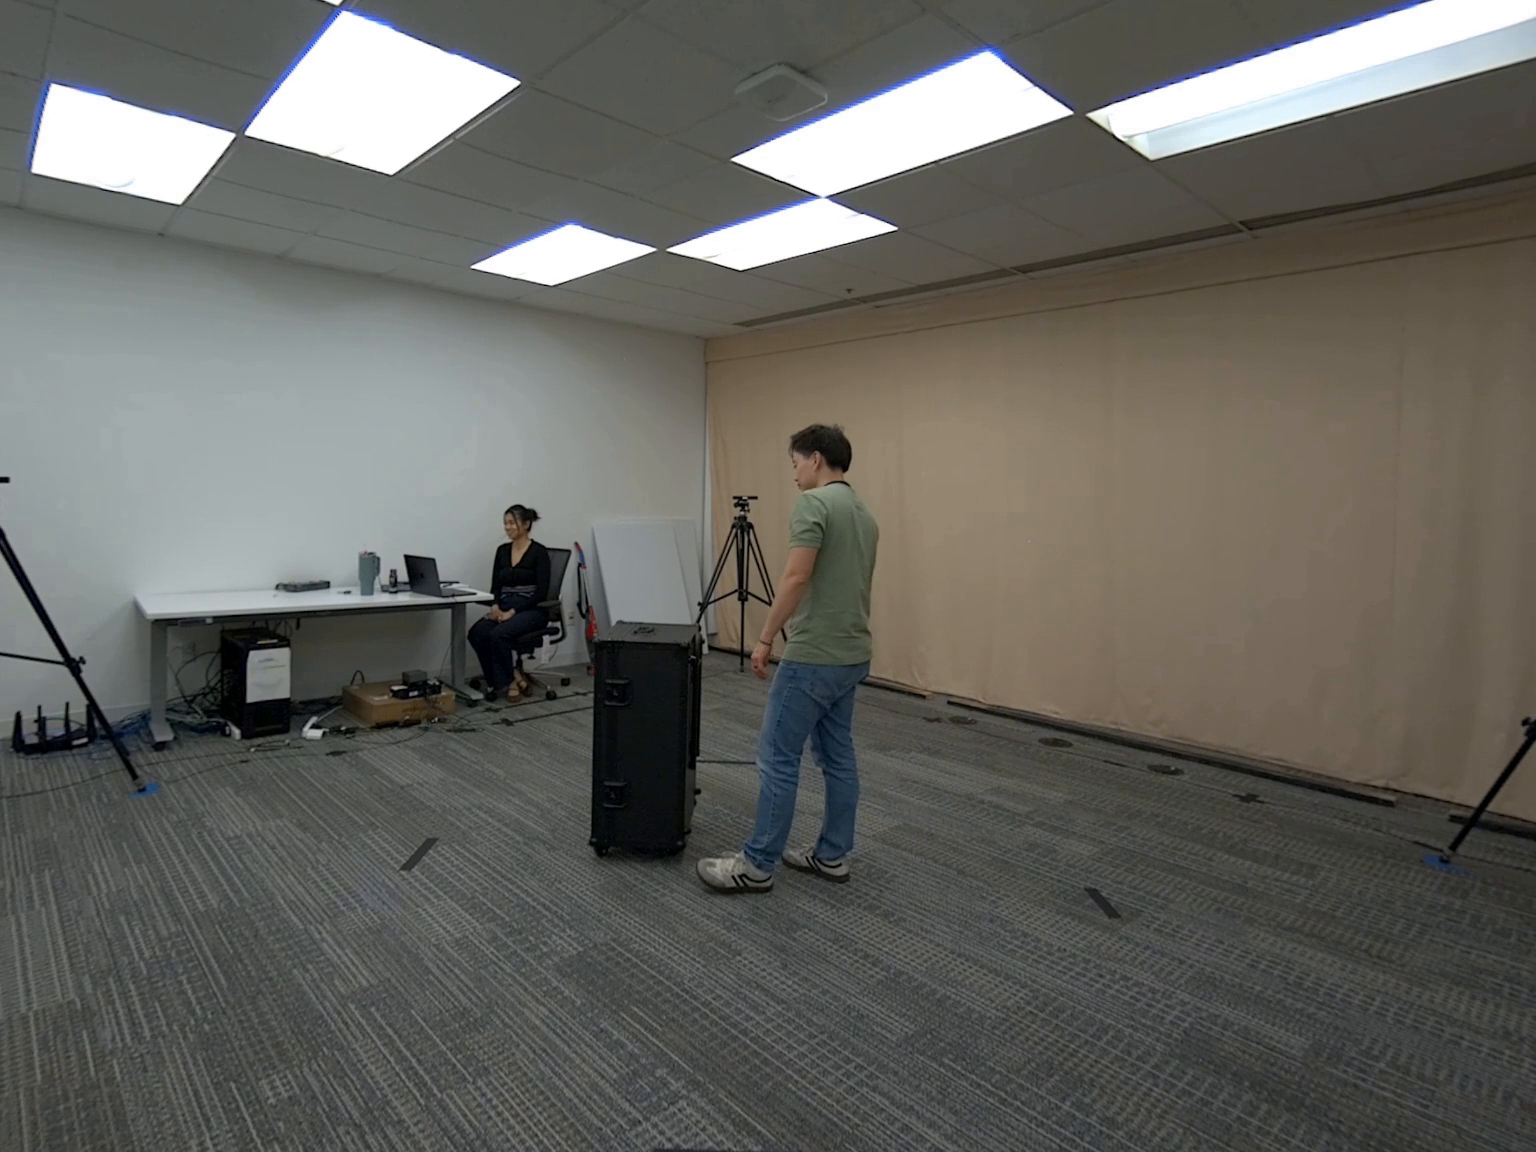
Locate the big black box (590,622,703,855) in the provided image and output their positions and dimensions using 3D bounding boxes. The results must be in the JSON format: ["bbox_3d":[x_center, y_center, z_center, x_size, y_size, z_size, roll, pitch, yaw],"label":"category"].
[{"bbox_3d":[-0.475,0.643,3.379,0.397,0.859,0.521,2,3,3],"label":"big black box"}]
